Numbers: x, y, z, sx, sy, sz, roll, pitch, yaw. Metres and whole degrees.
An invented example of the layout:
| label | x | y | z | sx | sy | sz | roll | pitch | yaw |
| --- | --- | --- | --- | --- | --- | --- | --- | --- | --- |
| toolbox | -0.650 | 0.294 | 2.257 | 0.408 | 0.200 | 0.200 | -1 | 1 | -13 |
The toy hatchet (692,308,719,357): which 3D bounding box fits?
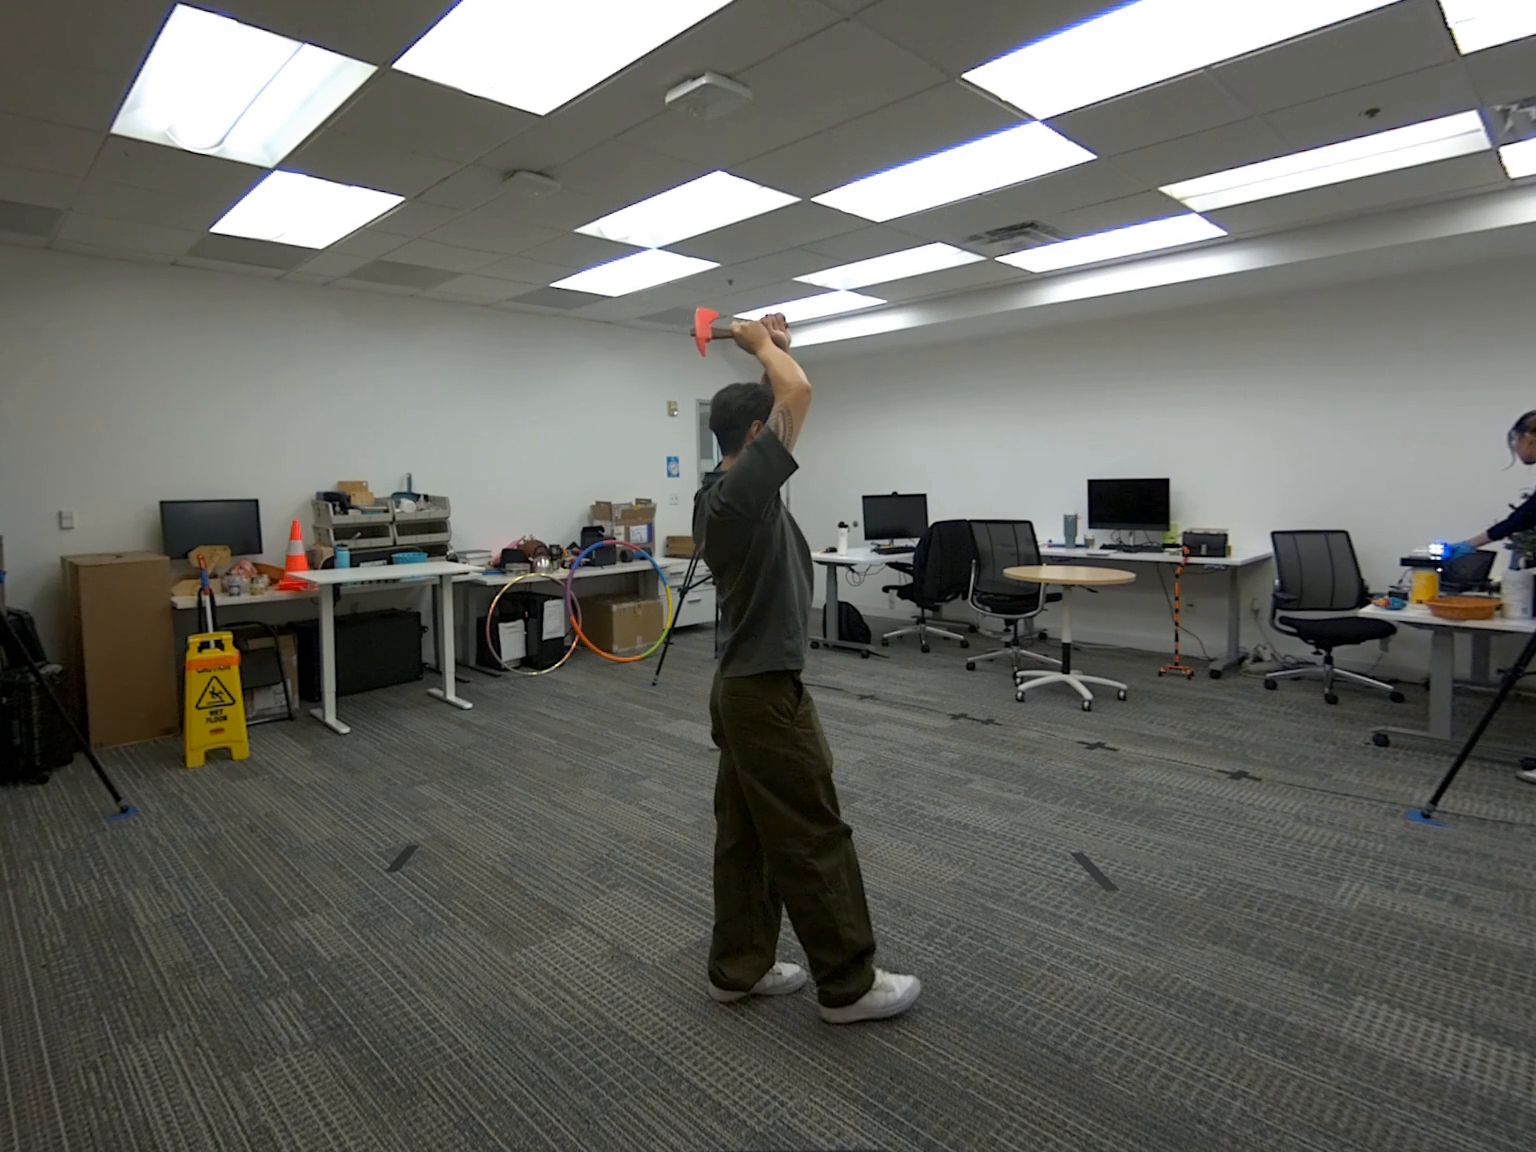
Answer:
| label | x | y | z | sx | sy | sz | roll | pitch | yaw |
| --- | --- | --- | --- | --- | --- | --- | --- | --- | --- |
| toy hatchet | -0.076 | -0.681 | 2.268 | 0.268 | 0.133 | 0.029 | -22 | -11 | -9 |
